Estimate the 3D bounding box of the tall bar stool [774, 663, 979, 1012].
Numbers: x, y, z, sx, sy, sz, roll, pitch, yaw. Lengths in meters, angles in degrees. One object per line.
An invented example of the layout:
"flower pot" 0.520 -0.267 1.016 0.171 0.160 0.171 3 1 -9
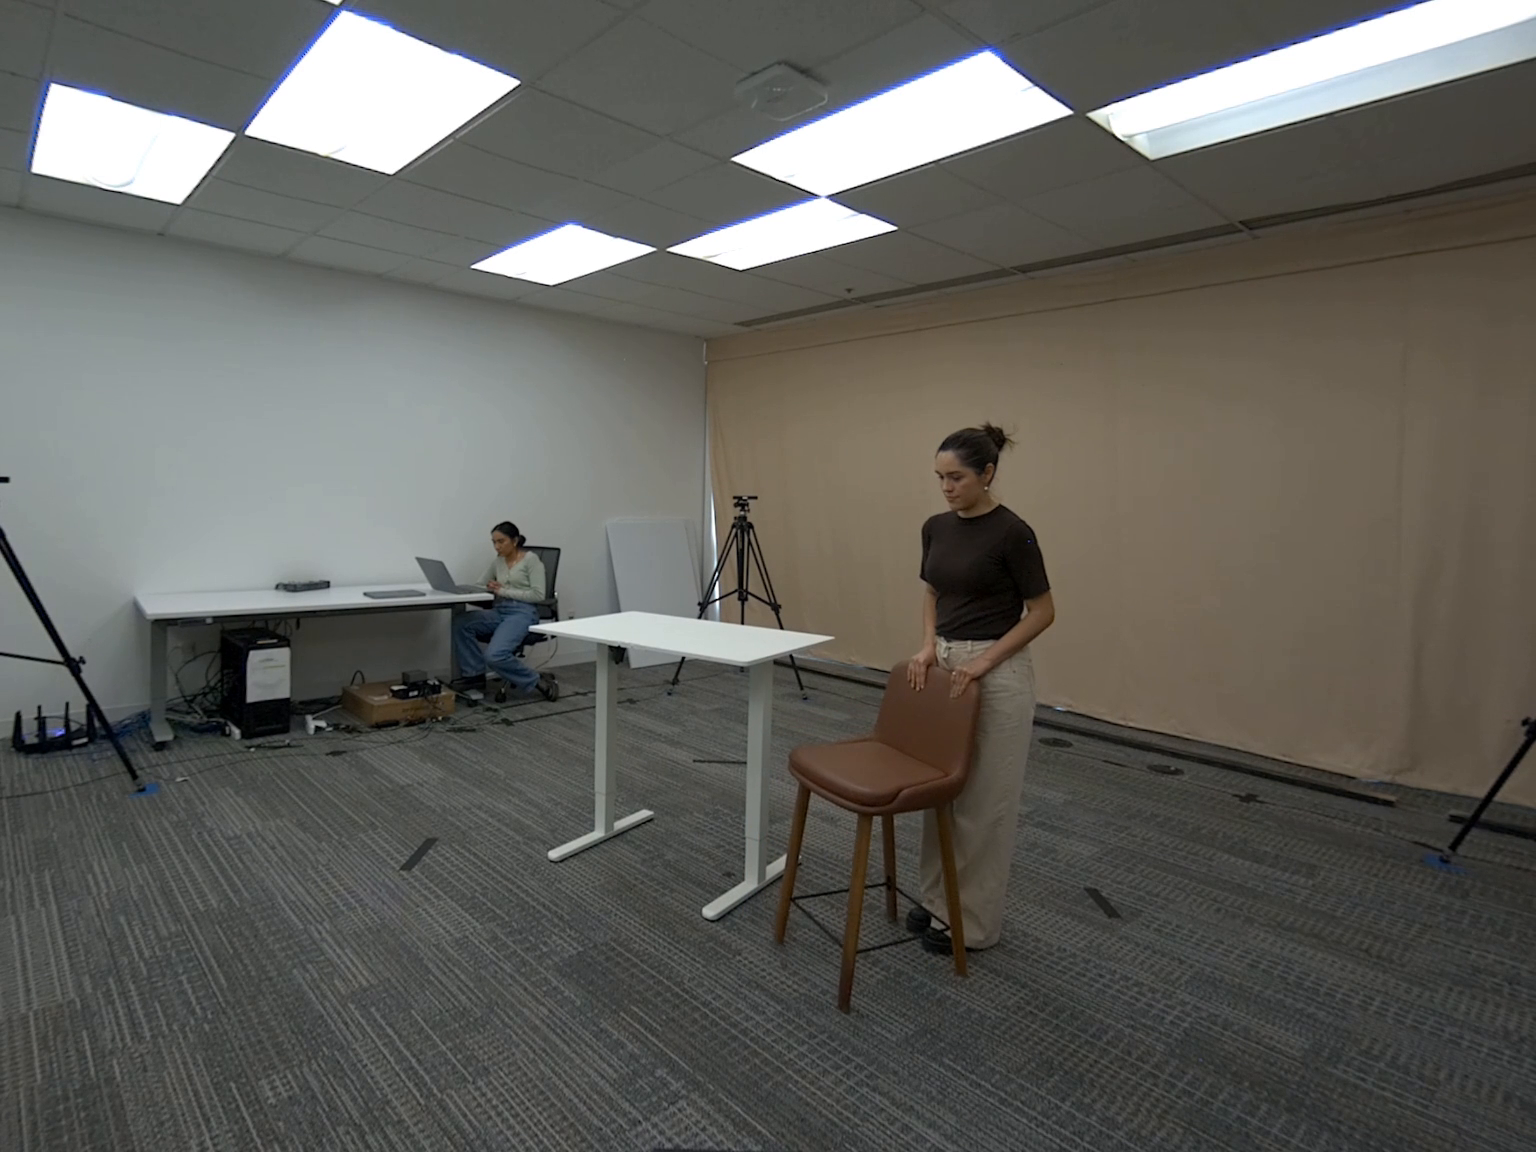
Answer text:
"tall bar stool" 0.326 0.728 2.529 0.459 0.888 0.466 1 3 -26
